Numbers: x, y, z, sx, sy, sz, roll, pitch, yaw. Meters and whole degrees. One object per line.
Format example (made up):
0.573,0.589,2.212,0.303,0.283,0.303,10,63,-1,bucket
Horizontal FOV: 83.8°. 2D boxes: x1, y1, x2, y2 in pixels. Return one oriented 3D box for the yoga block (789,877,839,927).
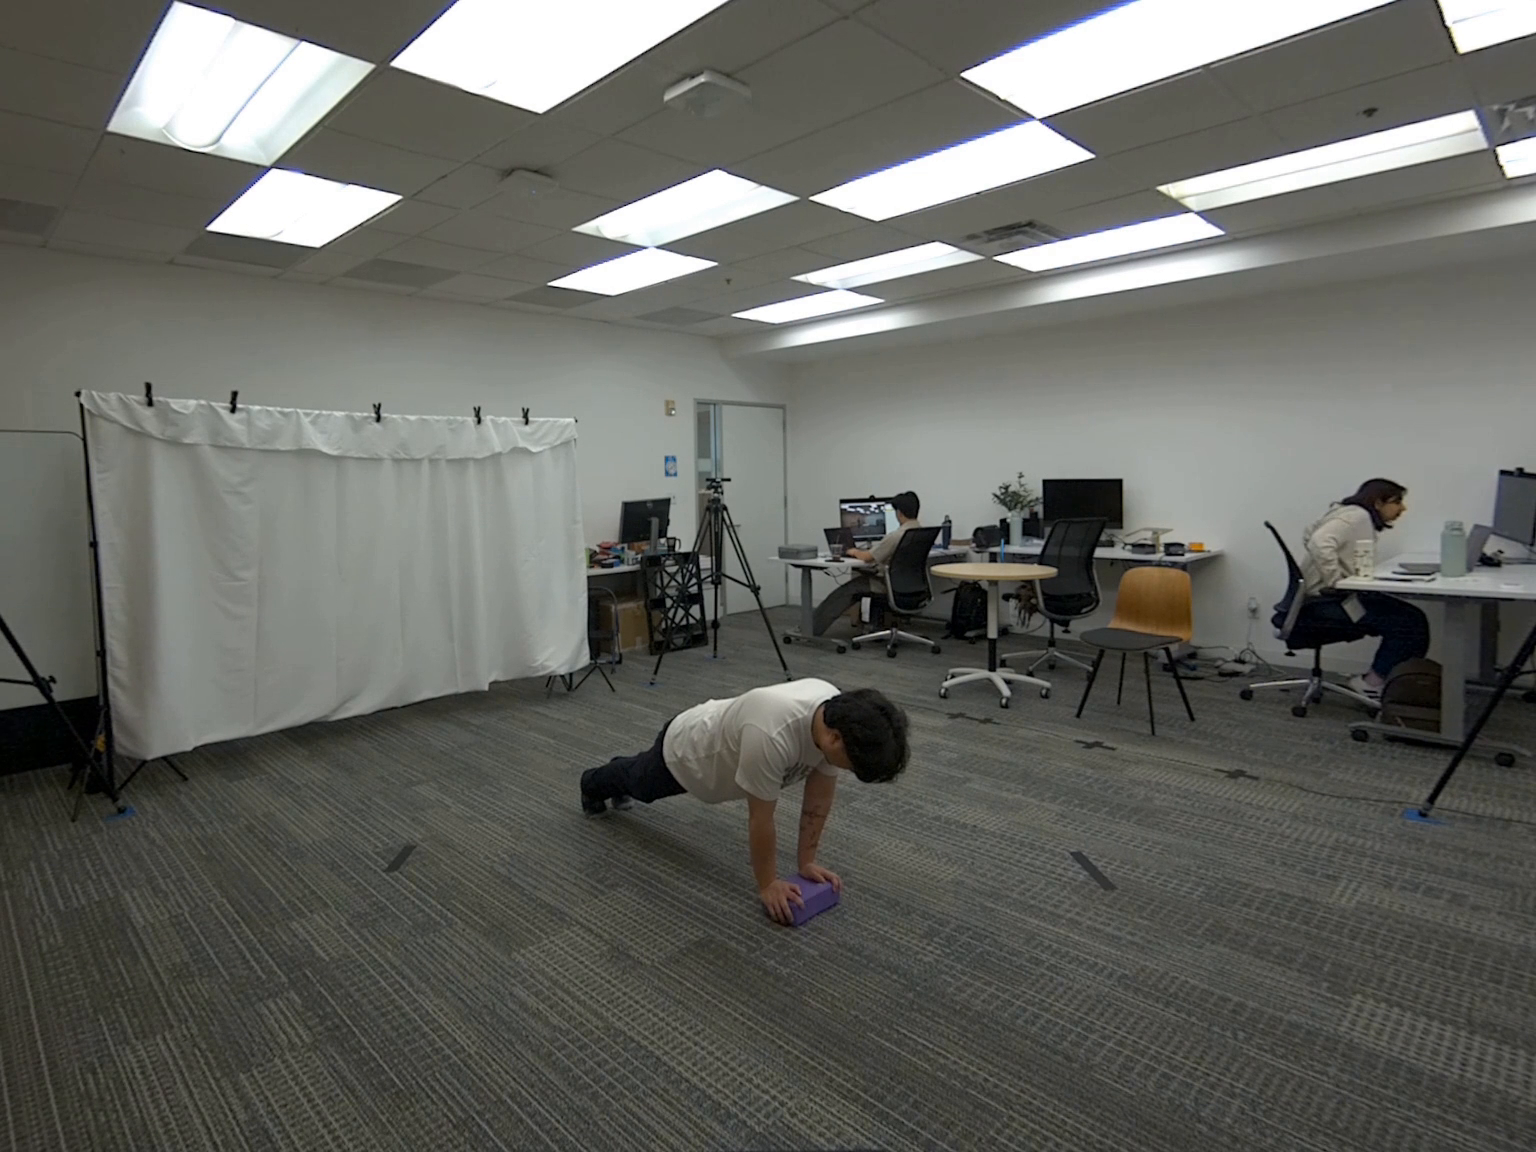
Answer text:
0.111,1.046,2.776,0.153,0.076,0.223,4,9,44,yoga block
